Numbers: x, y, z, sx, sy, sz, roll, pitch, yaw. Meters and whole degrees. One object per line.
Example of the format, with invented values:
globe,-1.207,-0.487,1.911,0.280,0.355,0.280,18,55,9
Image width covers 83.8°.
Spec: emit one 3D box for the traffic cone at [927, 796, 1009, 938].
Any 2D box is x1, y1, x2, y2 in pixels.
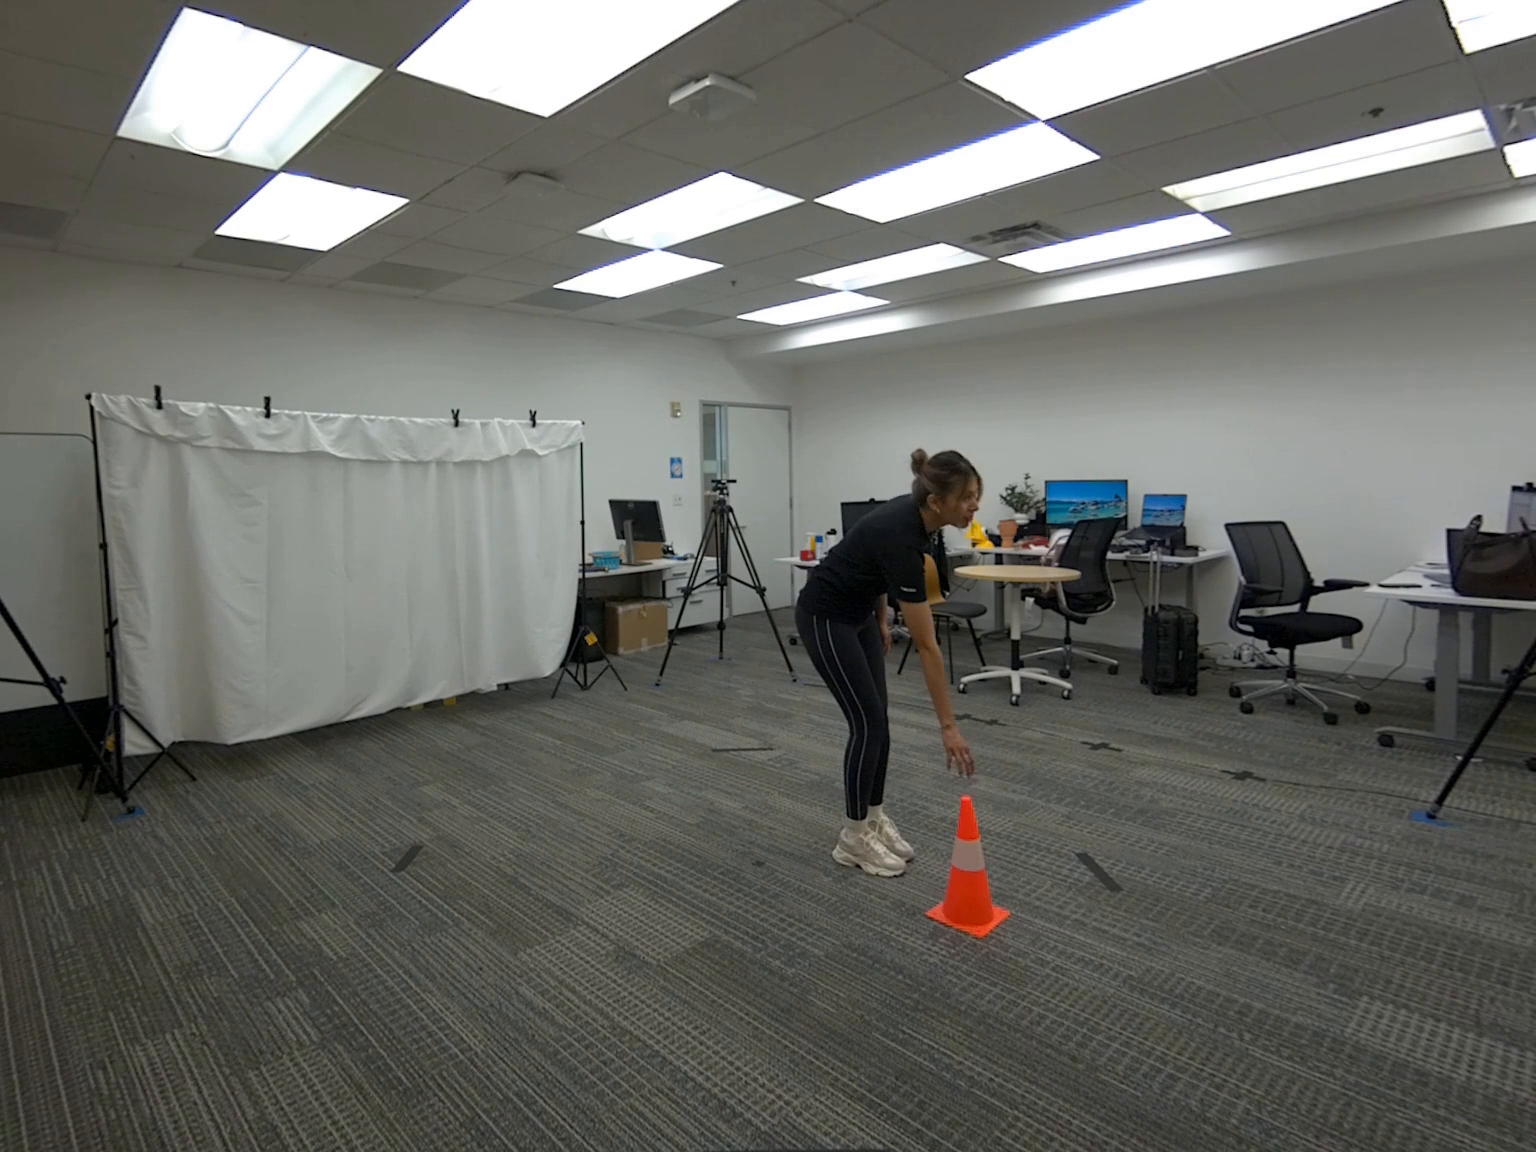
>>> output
traffic cone,0.638,0.892,2.713,0.211,0.383,0.198,1,4,43
